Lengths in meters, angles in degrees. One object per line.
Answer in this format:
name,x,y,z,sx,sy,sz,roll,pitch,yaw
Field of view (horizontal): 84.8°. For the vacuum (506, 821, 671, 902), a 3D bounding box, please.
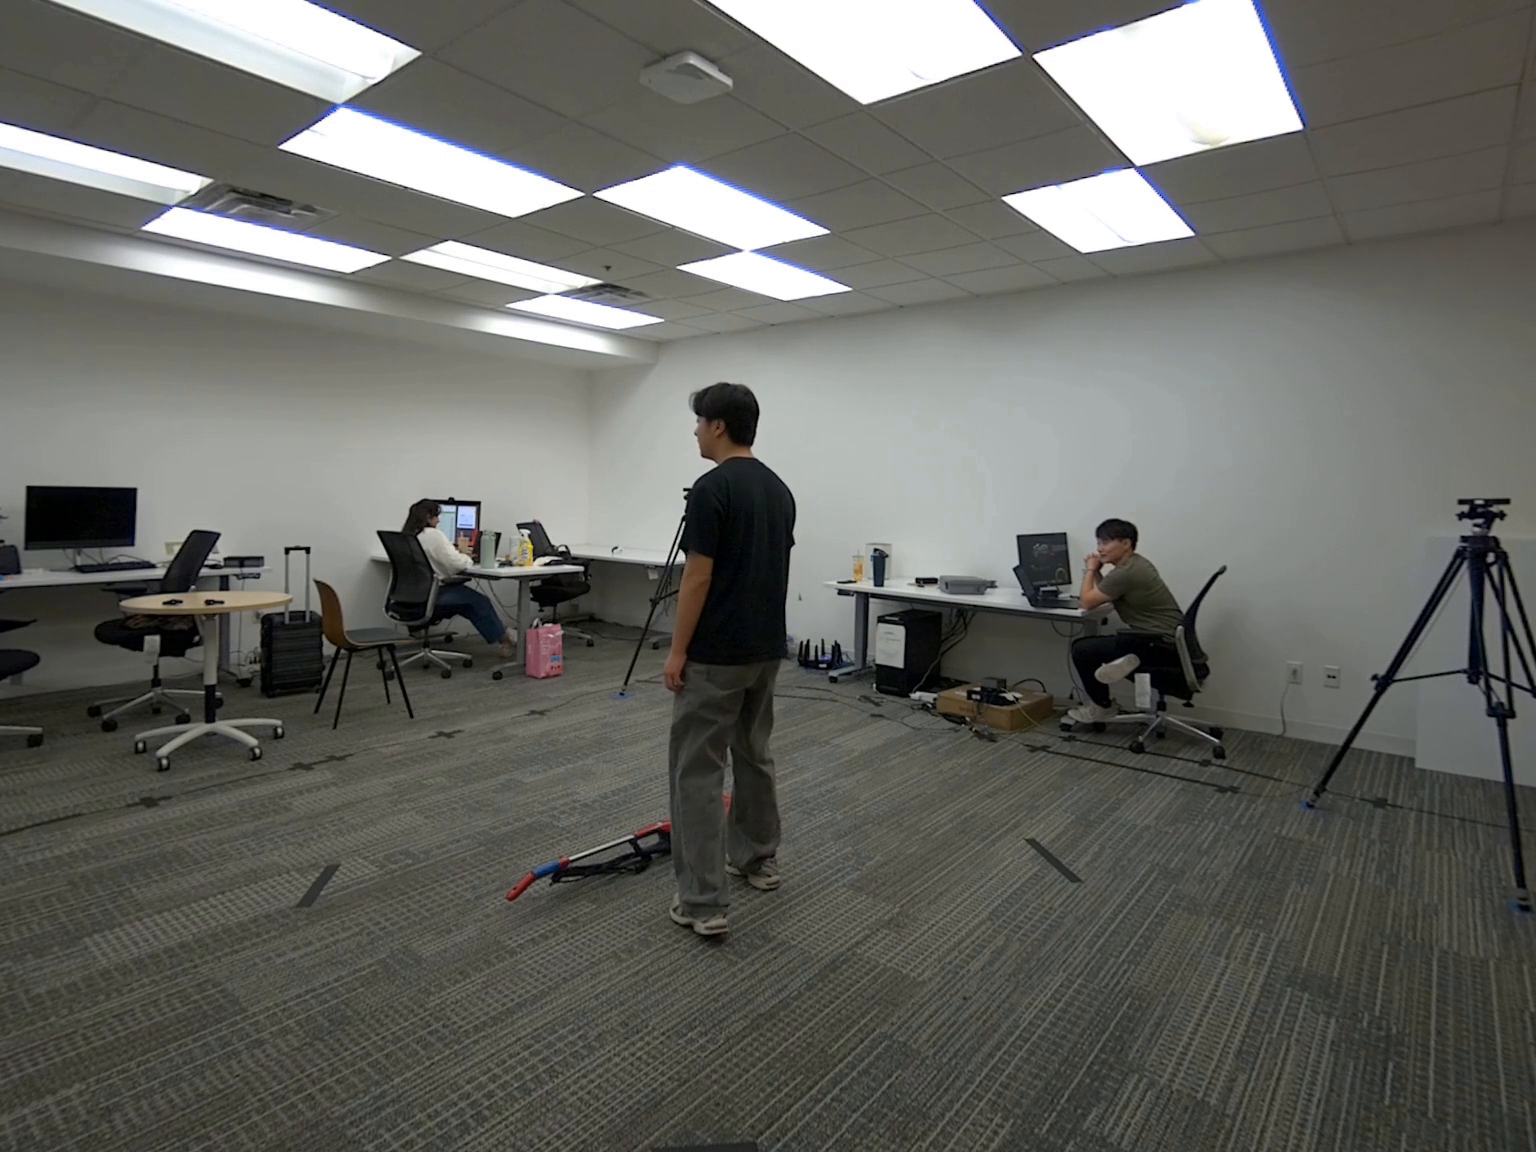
vacuum,-0.508,1.003,3.123,0.262,0.143,1.019,10,11,41
